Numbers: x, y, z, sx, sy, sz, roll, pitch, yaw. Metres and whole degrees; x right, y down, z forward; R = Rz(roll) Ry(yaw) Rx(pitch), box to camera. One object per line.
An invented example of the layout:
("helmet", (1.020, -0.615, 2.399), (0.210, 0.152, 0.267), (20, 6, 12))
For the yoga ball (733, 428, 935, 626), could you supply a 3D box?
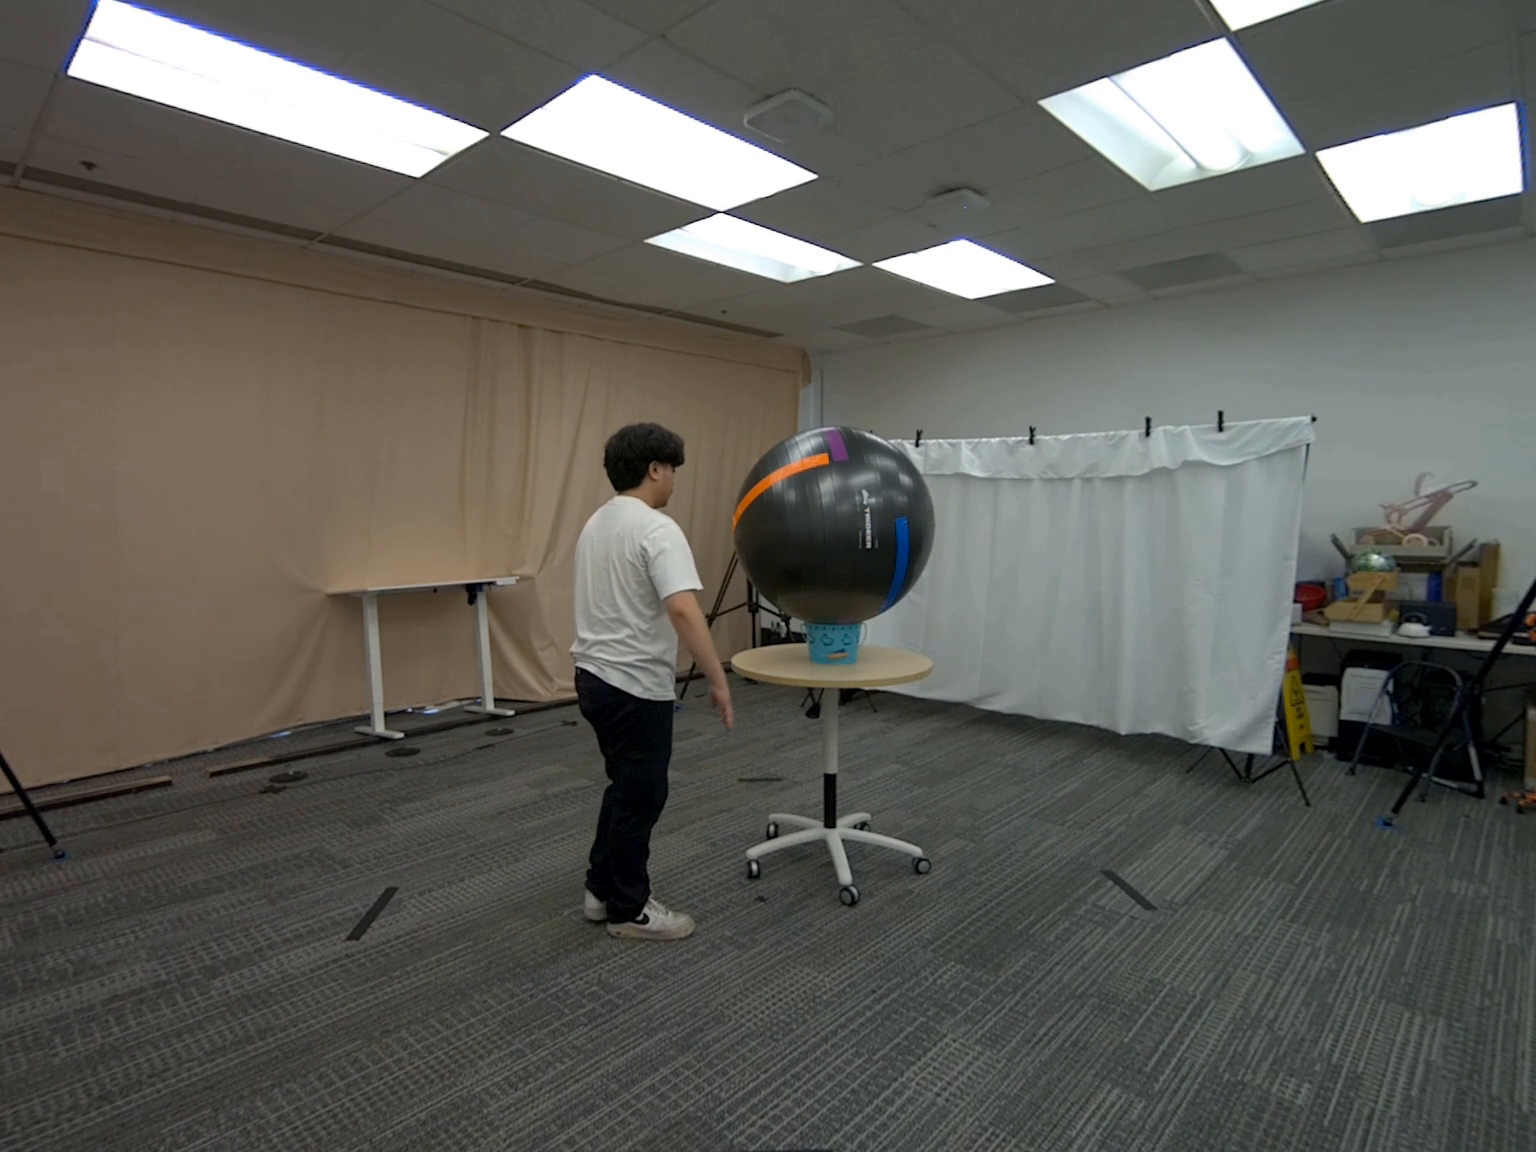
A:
("yoga ball", (0.246, -0.185, 3.222), (0.757, 0.756, 0.761), (0, 4, -2))
